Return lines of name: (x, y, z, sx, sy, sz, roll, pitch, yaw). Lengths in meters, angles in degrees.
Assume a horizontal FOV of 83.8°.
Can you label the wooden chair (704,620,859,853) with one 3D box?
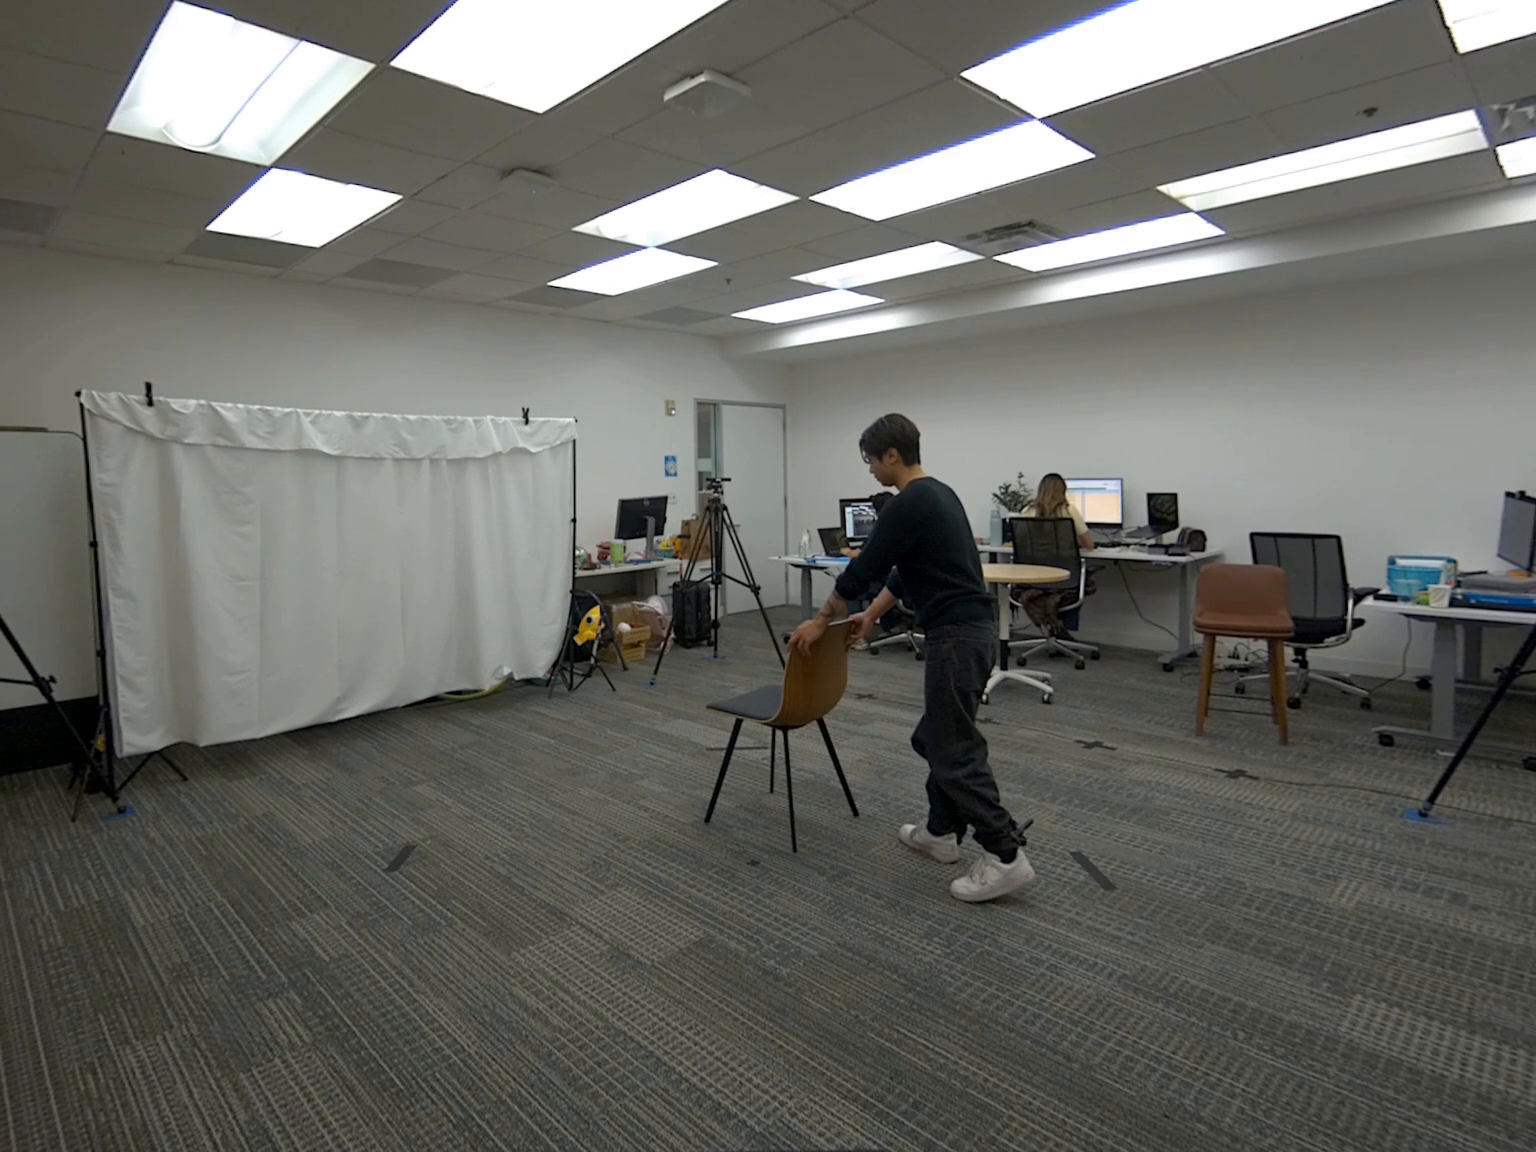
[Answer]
wooden chair: (0.048, 0.569, 3.462, 0.540, 0.872, 0.466, 9, 10, 38)
